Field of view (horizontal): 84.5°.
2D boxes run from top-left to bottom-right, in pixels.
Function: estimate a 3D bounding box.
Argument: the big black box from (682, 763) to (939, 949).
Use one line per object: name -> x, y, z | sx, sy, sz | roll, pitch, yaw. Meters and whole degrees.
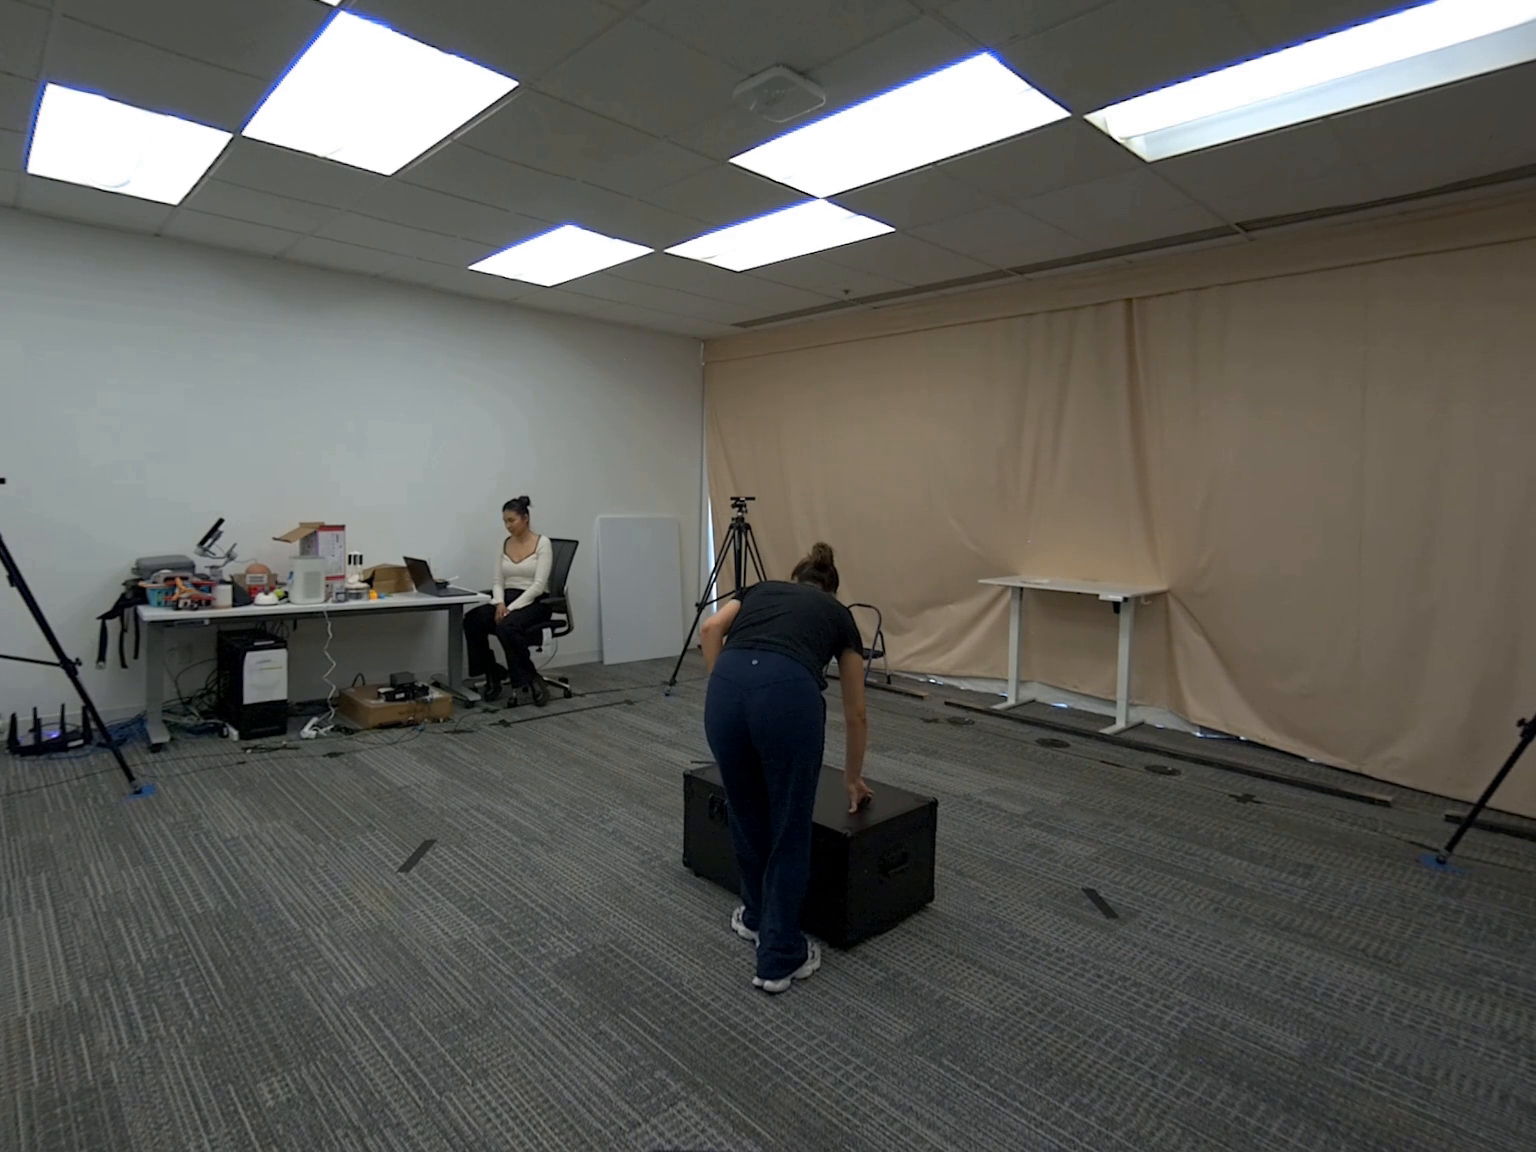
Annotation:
big black box -> 0.101, 0.914, 3.016 | 0.883, 0.395, 0.509 | 6, 6, 45
